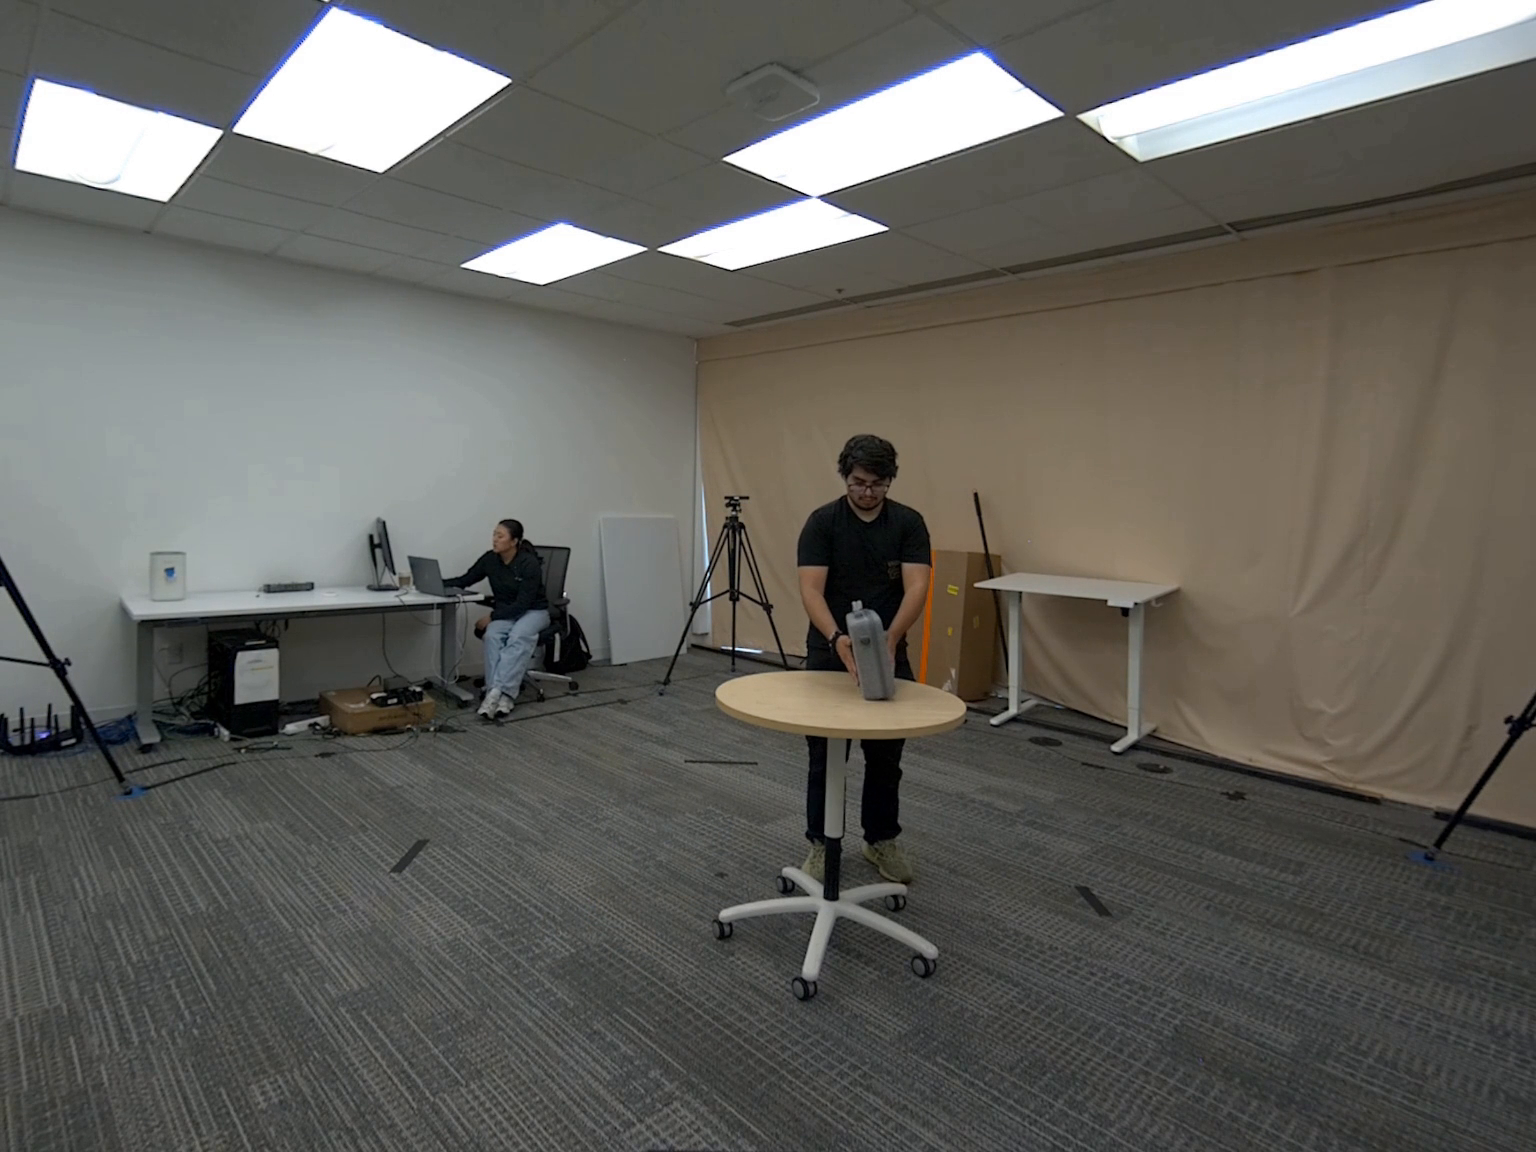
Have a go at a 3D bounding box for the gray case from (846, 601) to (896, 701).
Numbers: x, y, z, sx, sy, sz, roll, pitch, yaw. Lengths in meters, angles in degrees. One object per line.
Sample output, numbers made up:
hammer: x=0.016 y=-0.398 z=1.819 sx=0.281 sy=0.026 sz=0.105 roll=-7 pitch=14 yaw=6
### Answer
gray case: x=0.305 y=0.241 z=2.665 sx=0.104 sy=0.260 sz=0.257 roll=-8 pitch=3 yaw=2
